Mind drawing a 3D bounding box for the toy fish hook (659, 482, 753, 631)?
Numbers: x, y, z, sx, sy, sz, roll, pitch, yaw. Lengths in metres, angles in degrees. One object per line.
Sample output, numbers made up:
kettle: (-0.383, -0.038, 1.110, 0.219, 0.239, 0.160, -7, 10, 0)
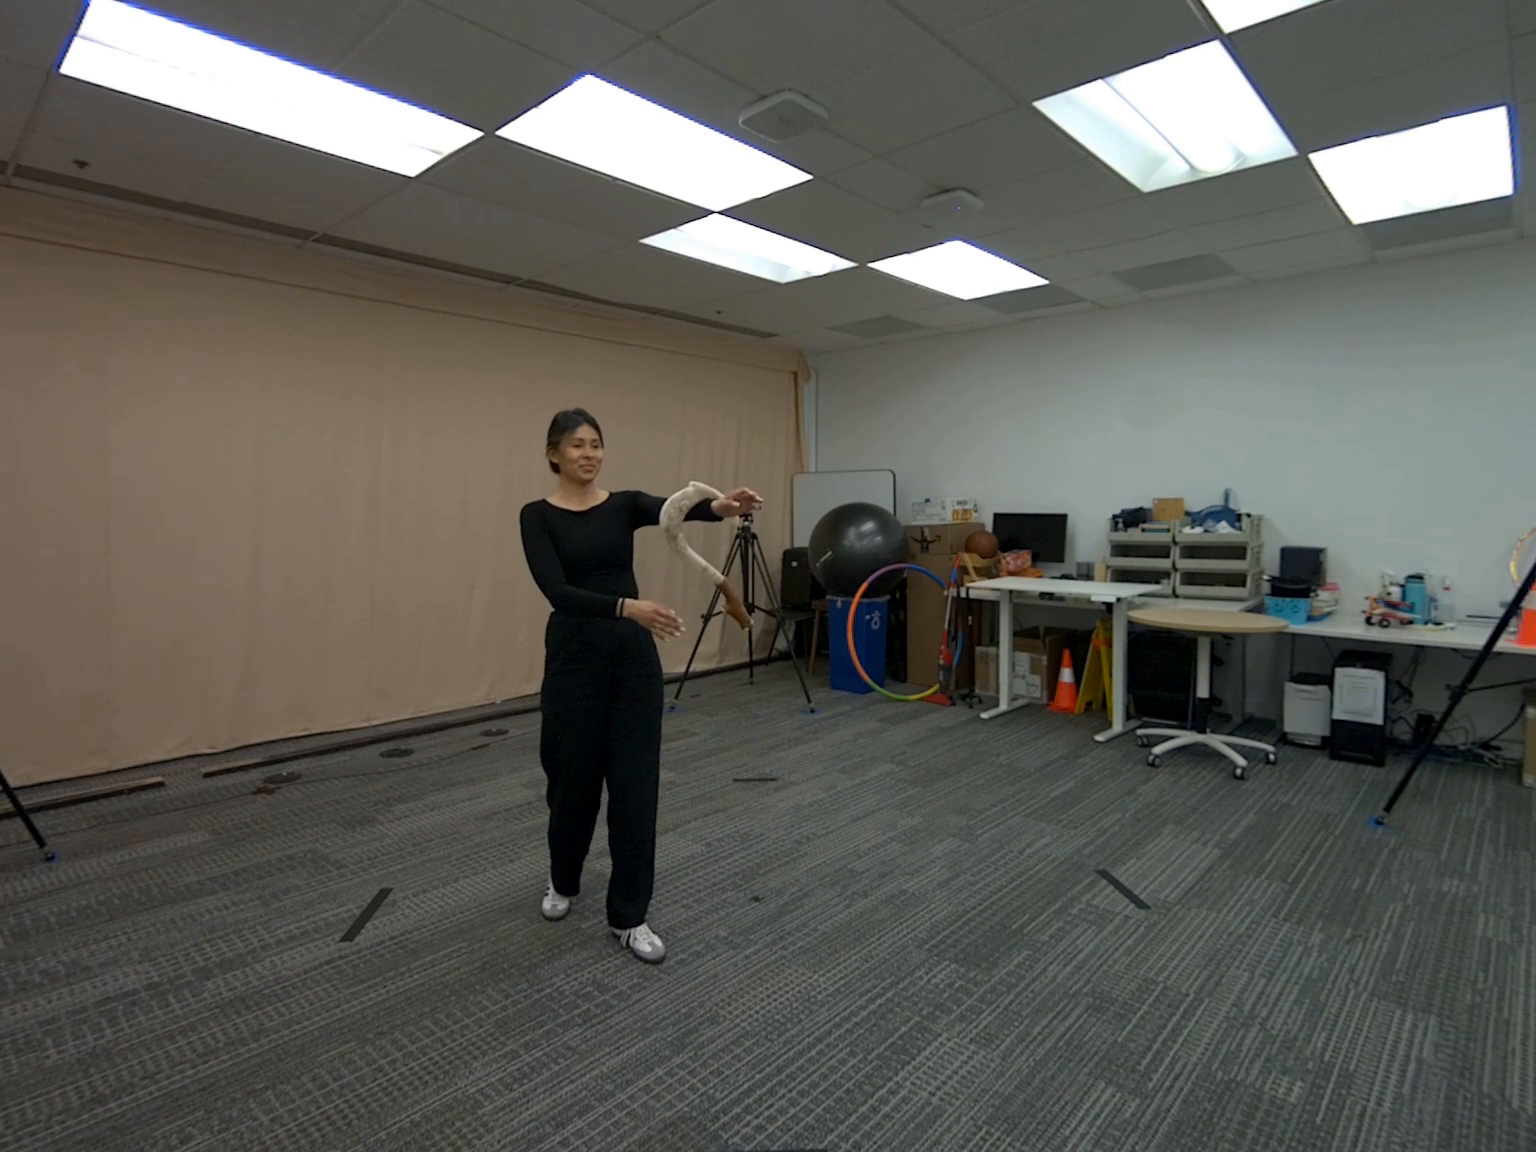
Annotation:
toy fish hook: (-0.129, -0.048, 2.463, 0.224, 0.495, 0.049, -32, 23, -2)
